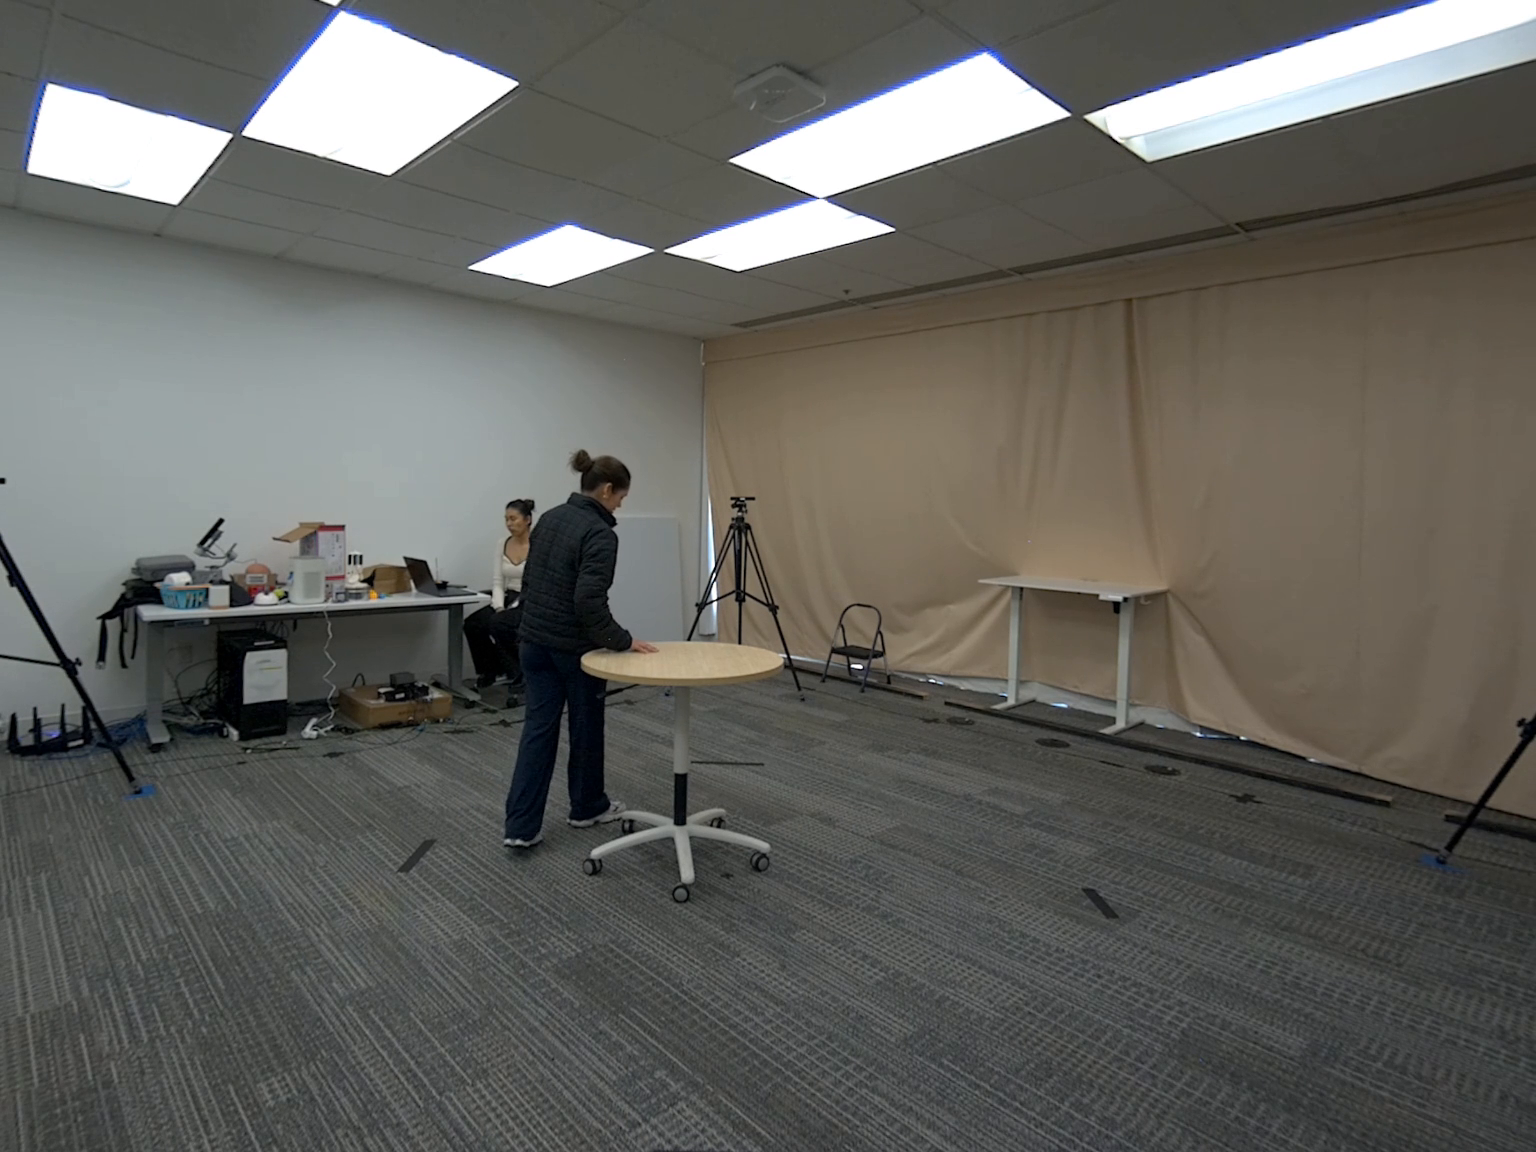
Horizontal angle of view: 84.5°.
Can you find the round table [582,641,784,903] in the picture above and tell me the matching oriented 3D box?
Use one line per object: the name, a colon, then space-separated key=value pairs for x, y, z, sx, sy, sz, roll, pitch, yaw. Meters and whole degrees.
round table: x=-0.323 y=0.701 z=3.208 sx=0.784 sy=0.785 sz=0.787 roll=1 pitch=4 yaw=-1
